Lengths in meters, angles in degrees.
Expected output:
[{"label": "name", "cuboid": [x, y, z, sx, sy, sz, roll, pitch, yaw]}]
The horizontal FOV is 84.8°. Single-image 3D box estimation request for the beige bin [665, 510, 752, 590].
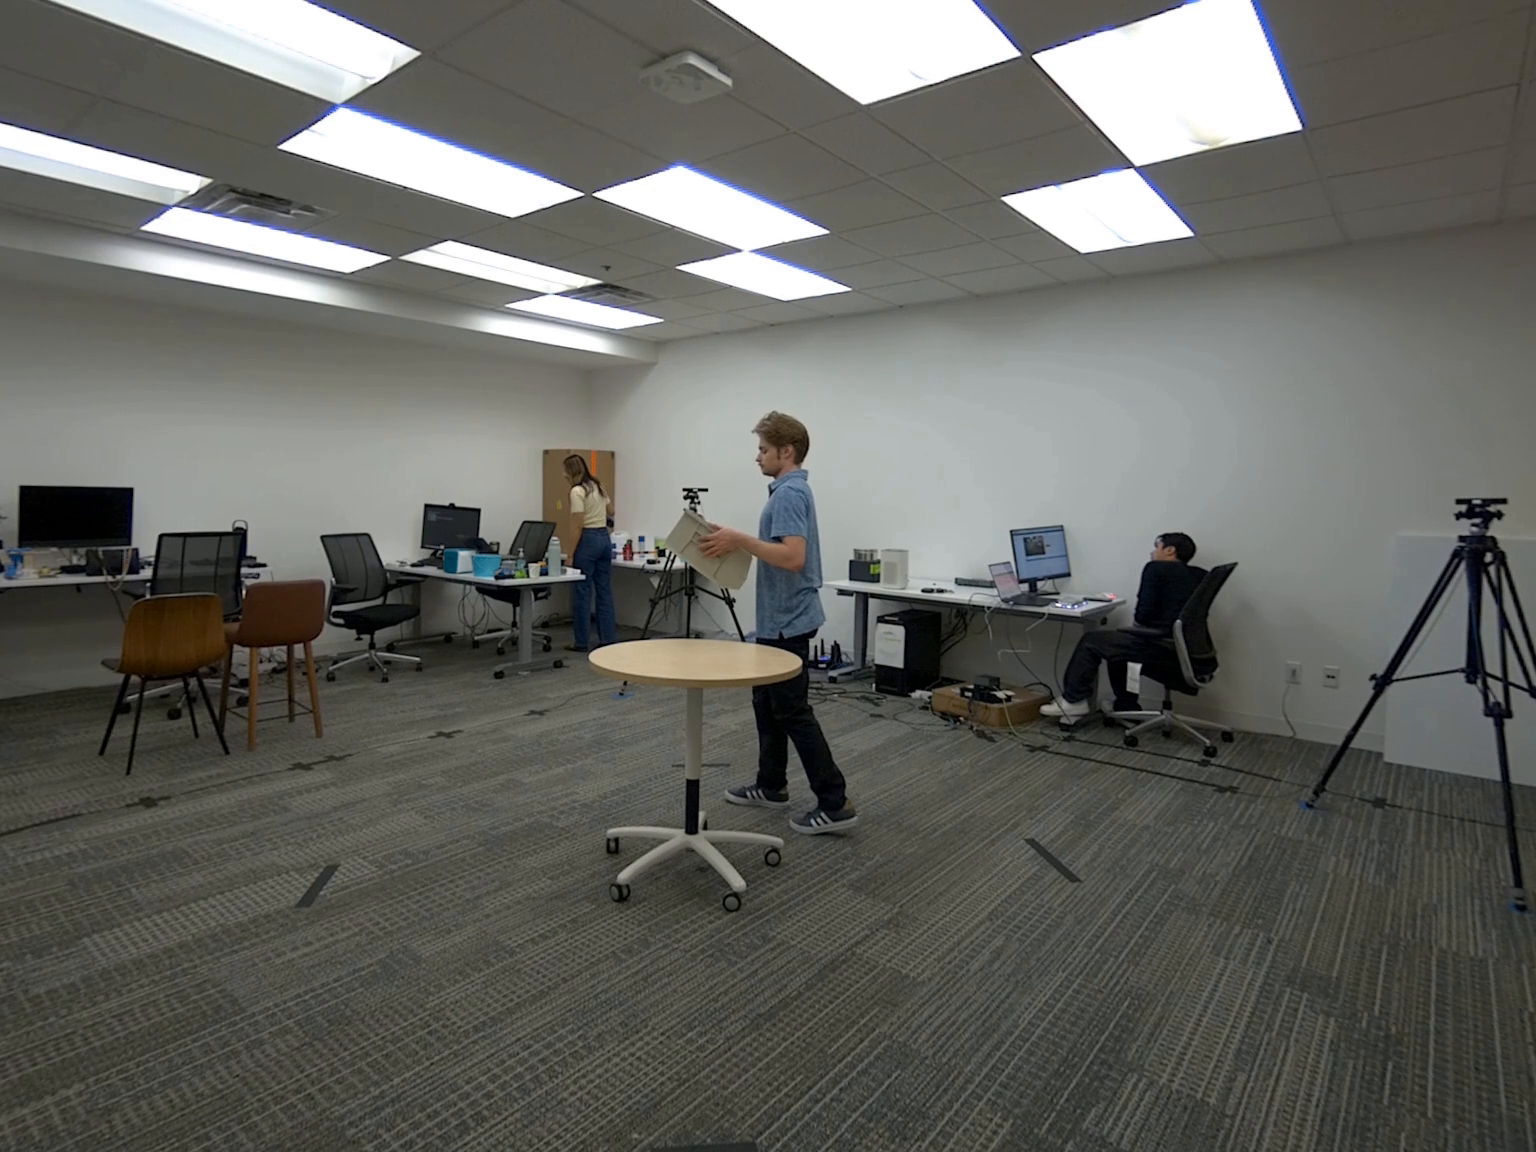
[{"label": "beige bin", "cuboid": [-0.262, -0.113, 3.691, 0.376, 0.189, 0.424, 34, 0, -3]}]
